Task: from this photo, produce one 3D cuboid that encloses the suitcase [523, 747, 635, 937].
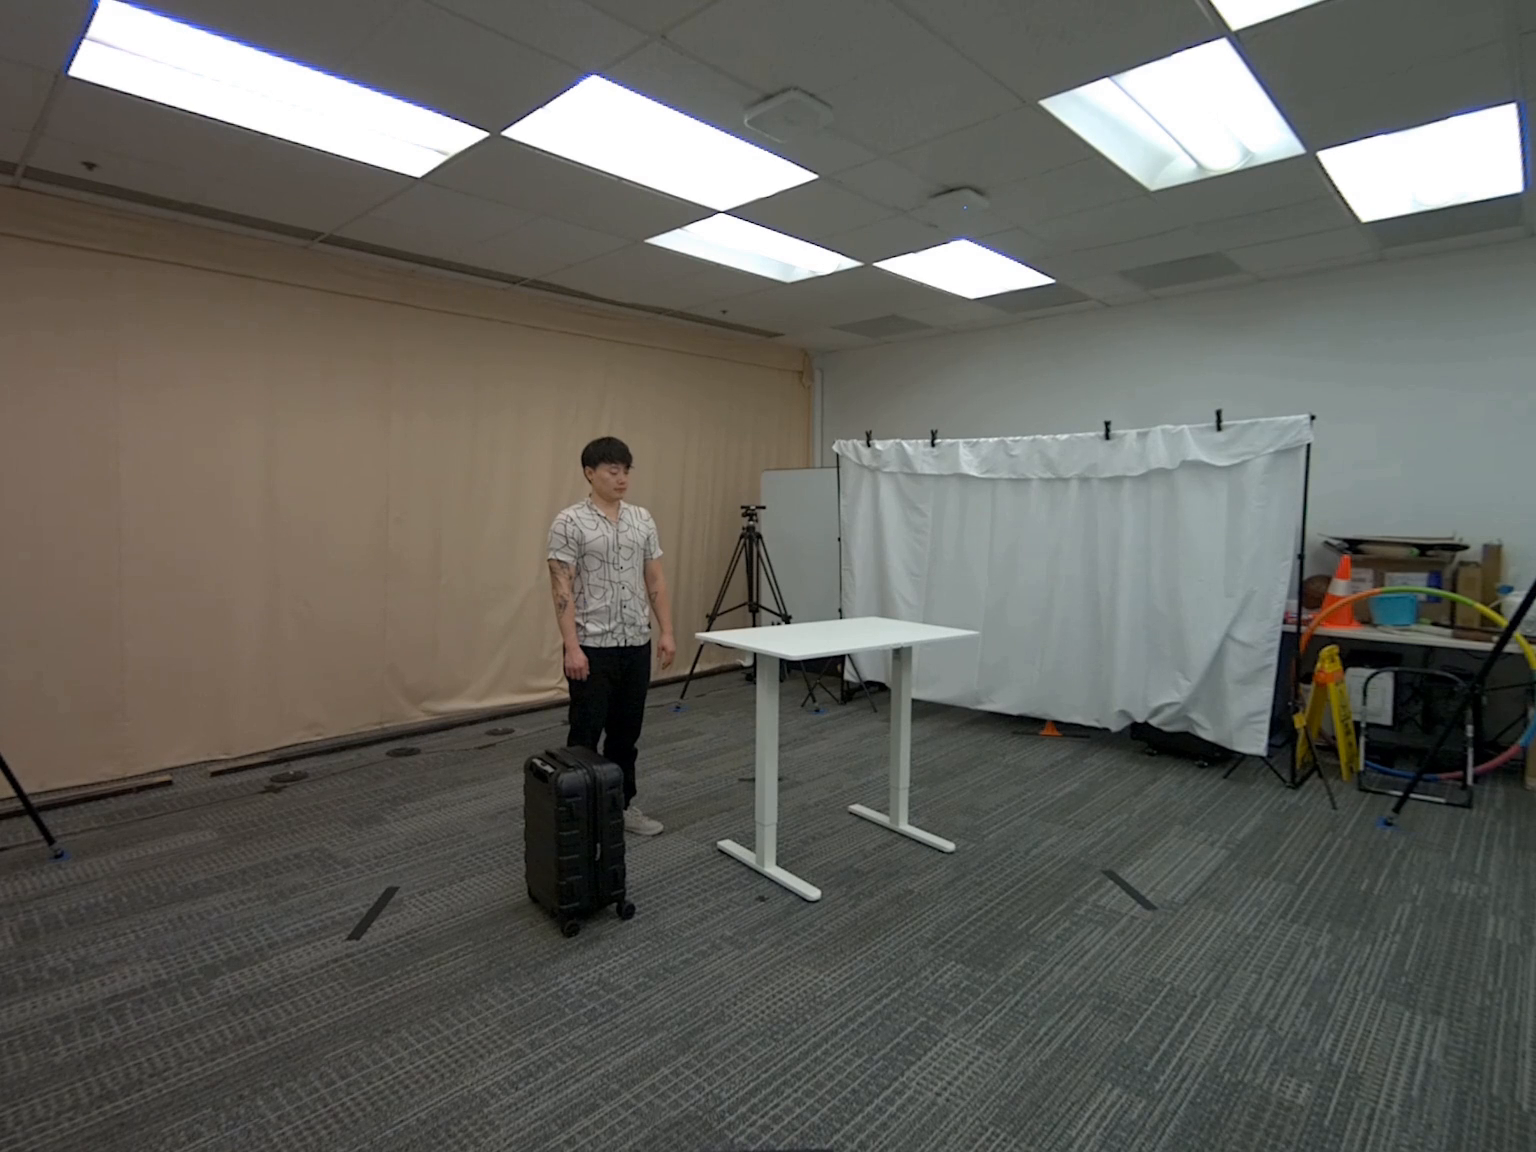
[{"bbox_3d":[-0.666,0.877,2.893,0.241,0.548,0.387,-3,5,-37],"label":"suitcase"}]
